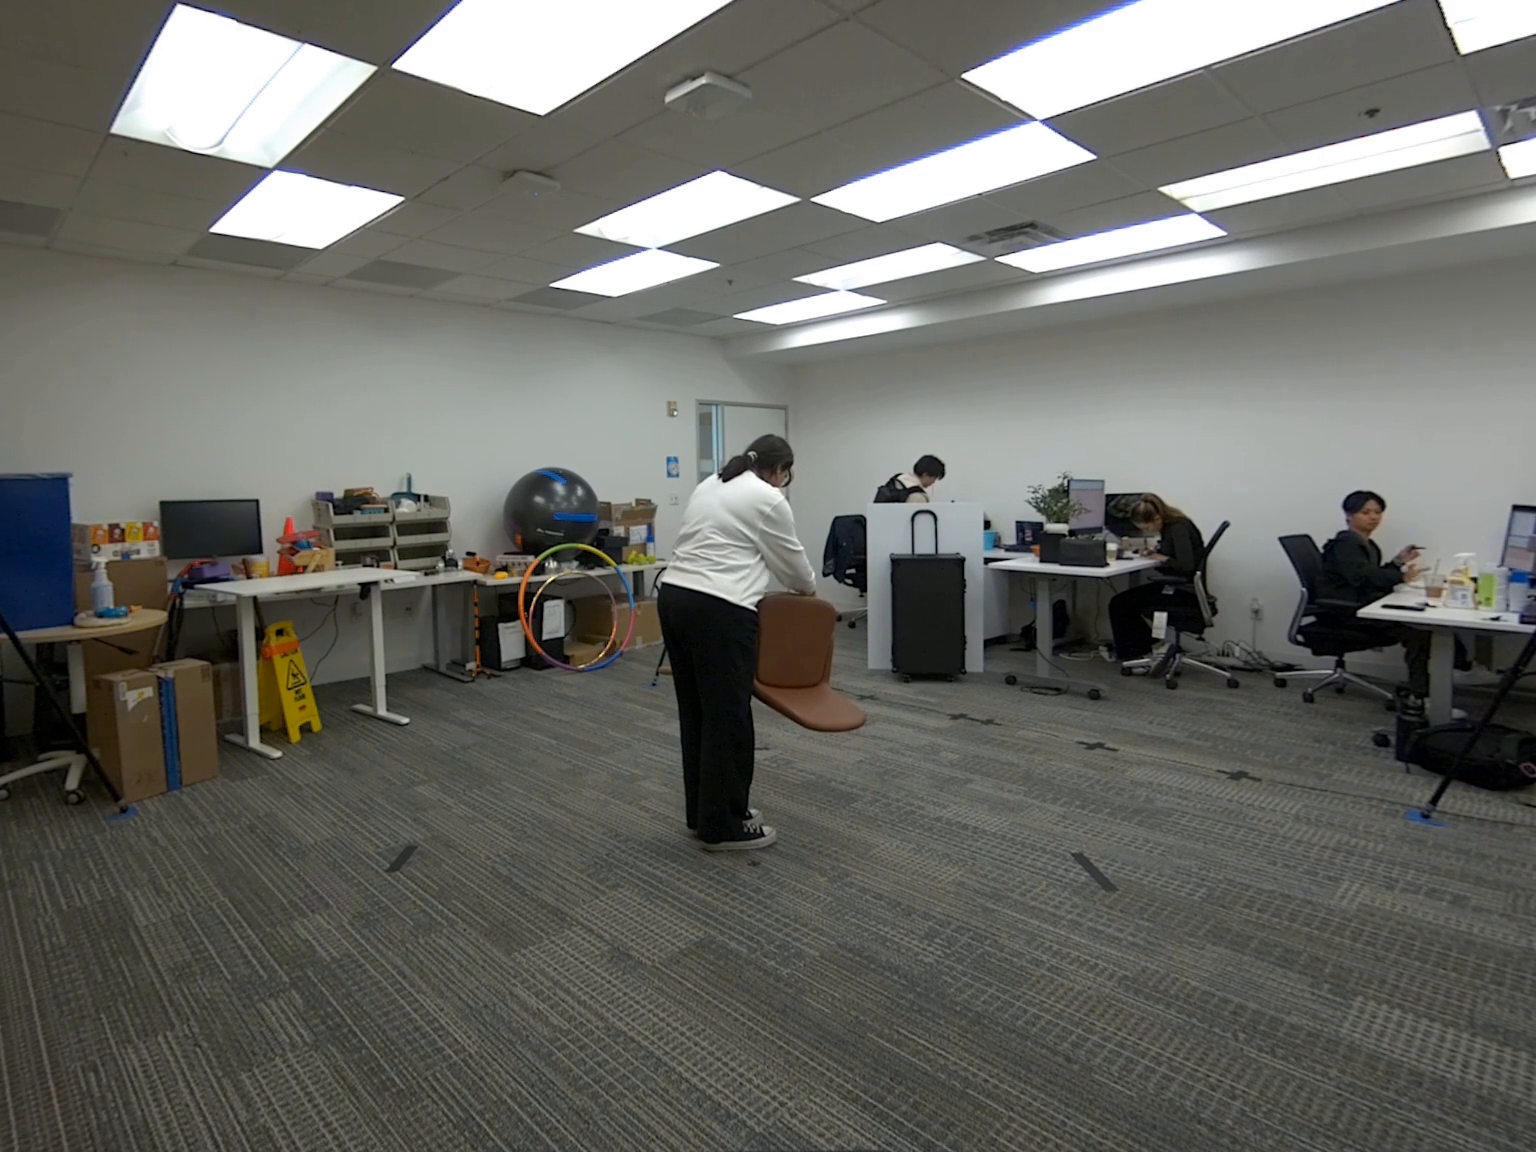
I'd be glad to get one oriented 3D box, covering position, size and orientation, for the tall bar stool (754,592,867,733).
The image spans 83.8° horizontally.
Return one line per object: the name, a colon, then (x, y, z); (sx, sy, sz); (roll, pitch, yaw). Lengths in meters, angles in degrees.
tall bar stool: (-0.003, 0.282, 3.497); (0.441, 0.468, 0.920); (11, 0, -43)
